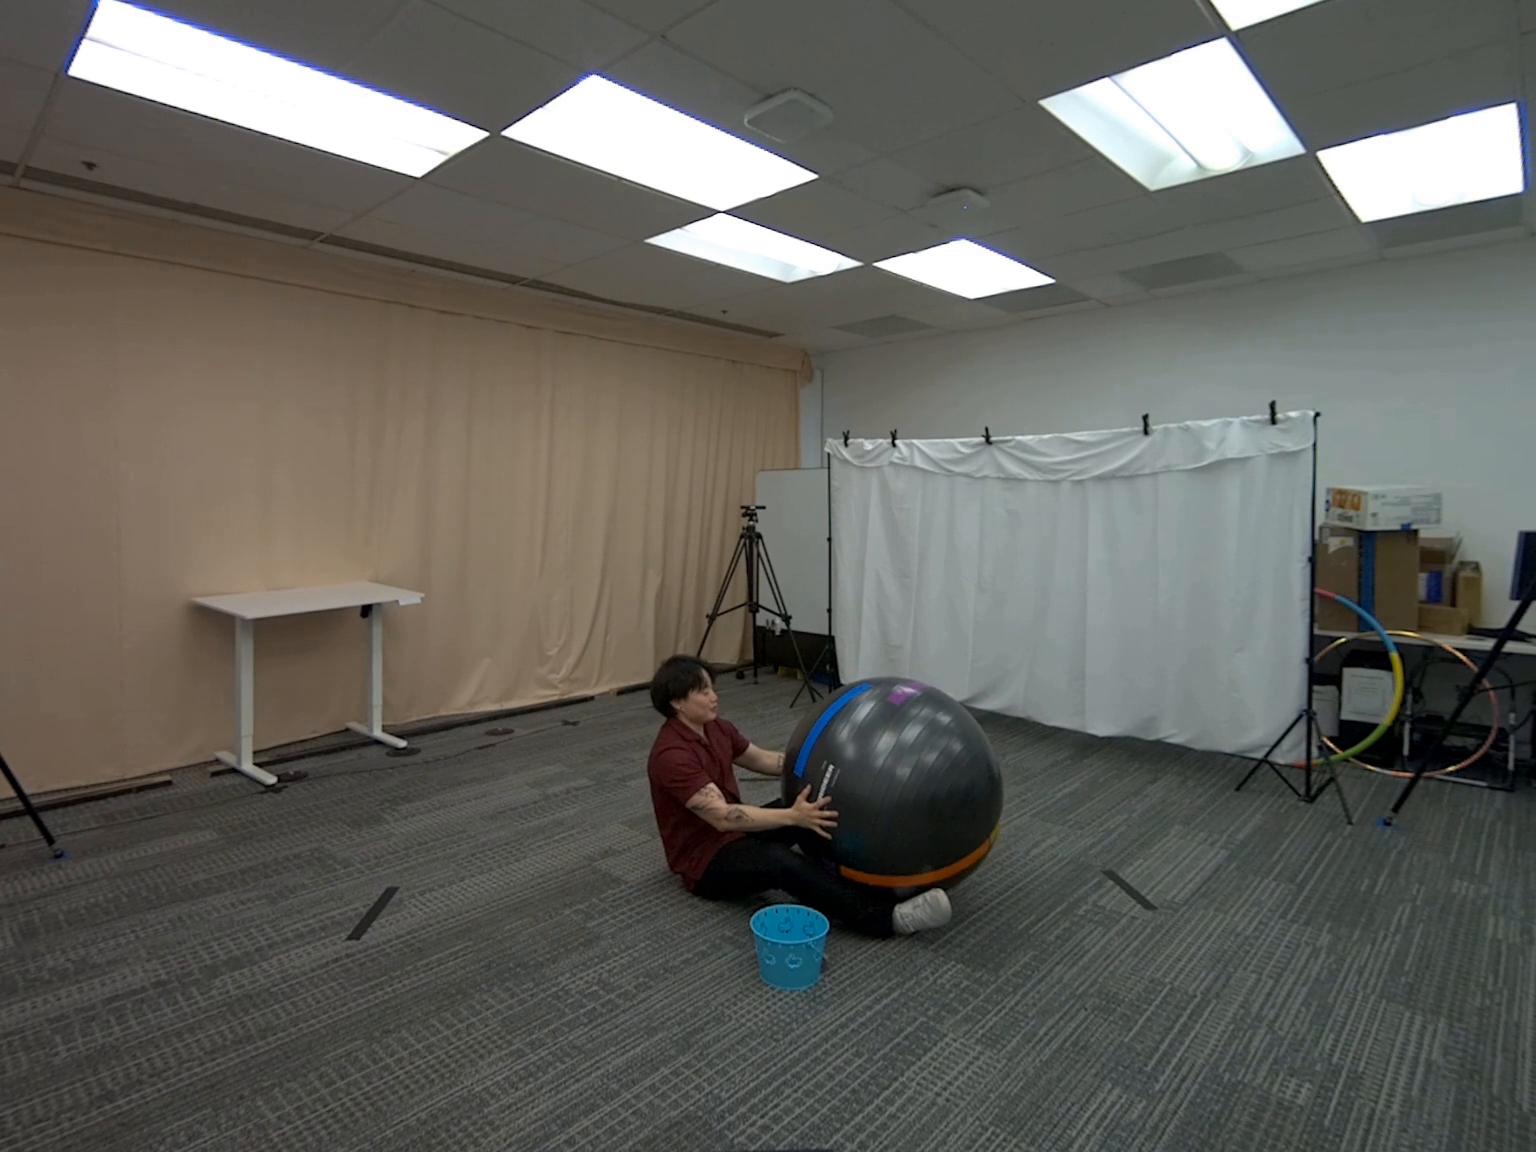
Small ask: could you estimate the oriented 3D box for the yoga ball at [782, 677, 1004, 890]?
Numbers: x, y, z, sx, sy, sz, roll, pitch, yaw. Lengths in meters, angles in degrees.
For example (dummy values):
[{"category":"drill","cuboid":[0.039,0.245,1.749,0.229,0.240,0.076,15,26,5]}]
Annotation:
[{"category":"yoga ball","cuboid":[0.436,0.745,2.962,0.757,0.756,0.760,0,4,-2]}]
